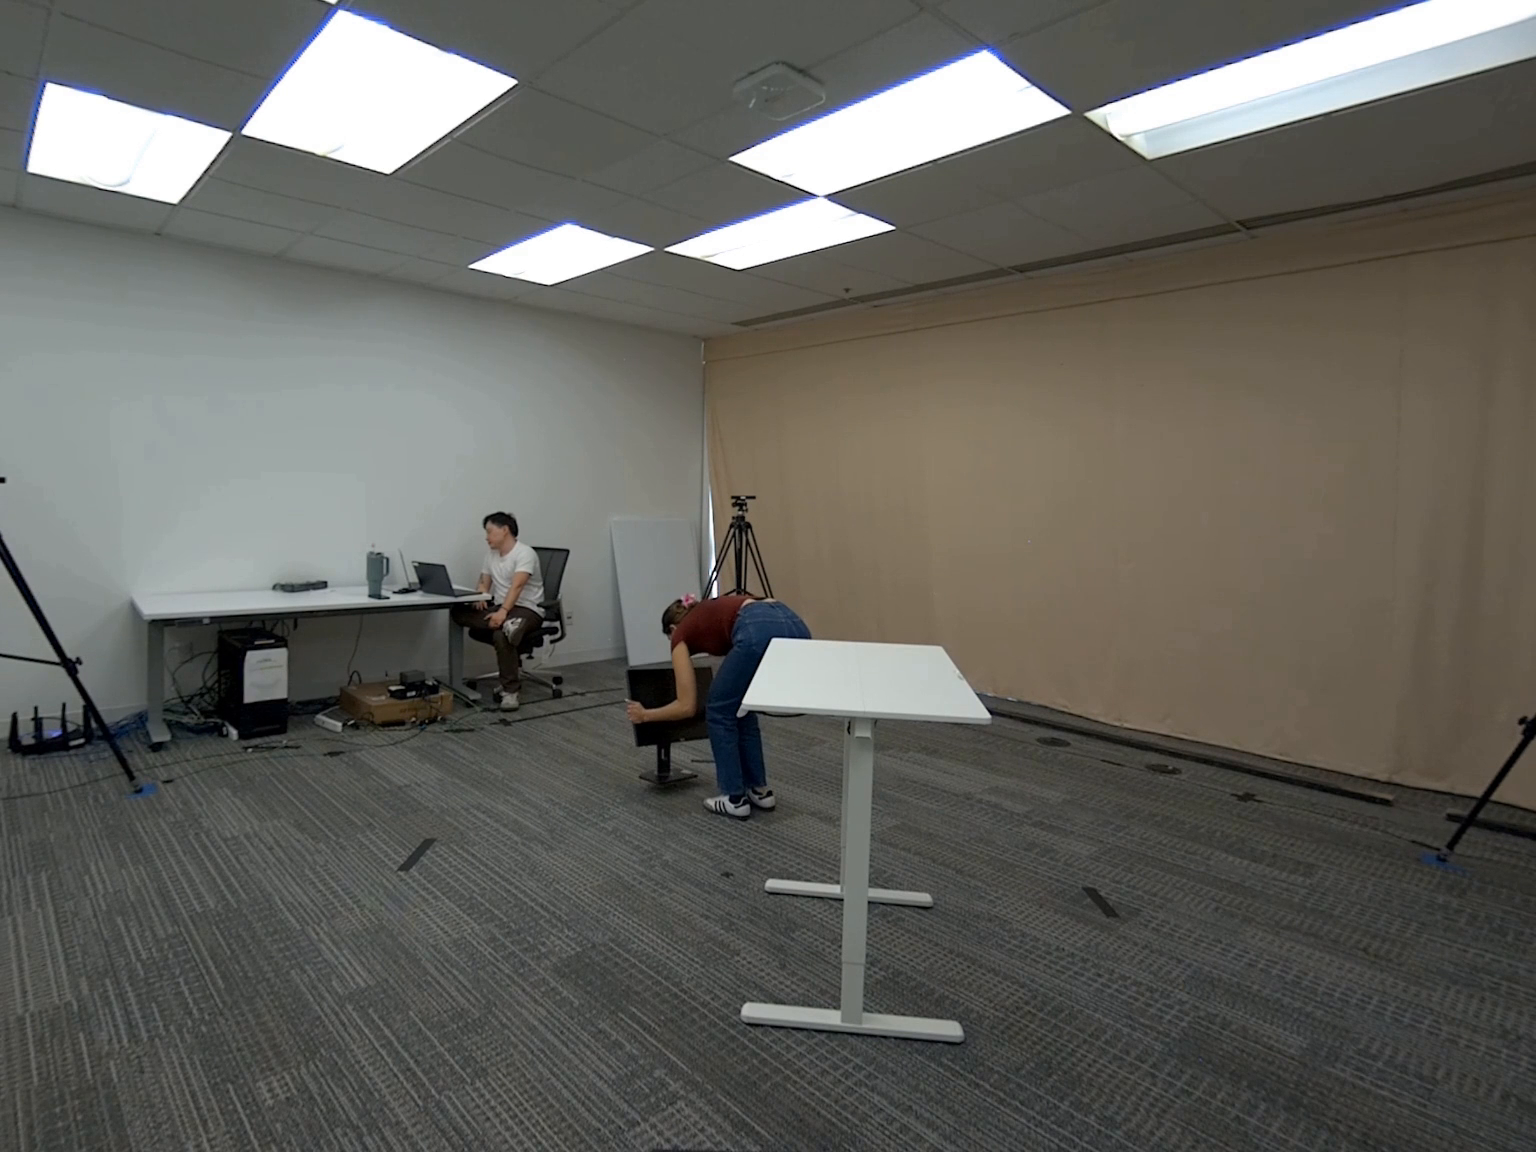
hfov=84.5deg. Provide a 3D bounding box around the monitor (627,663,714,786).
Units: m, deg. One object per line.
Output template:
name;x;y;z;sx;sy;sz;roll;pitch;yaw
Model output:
monitor;-0.469;0.706;4.043;0.191;0.523;0.525;-1;-3;42
